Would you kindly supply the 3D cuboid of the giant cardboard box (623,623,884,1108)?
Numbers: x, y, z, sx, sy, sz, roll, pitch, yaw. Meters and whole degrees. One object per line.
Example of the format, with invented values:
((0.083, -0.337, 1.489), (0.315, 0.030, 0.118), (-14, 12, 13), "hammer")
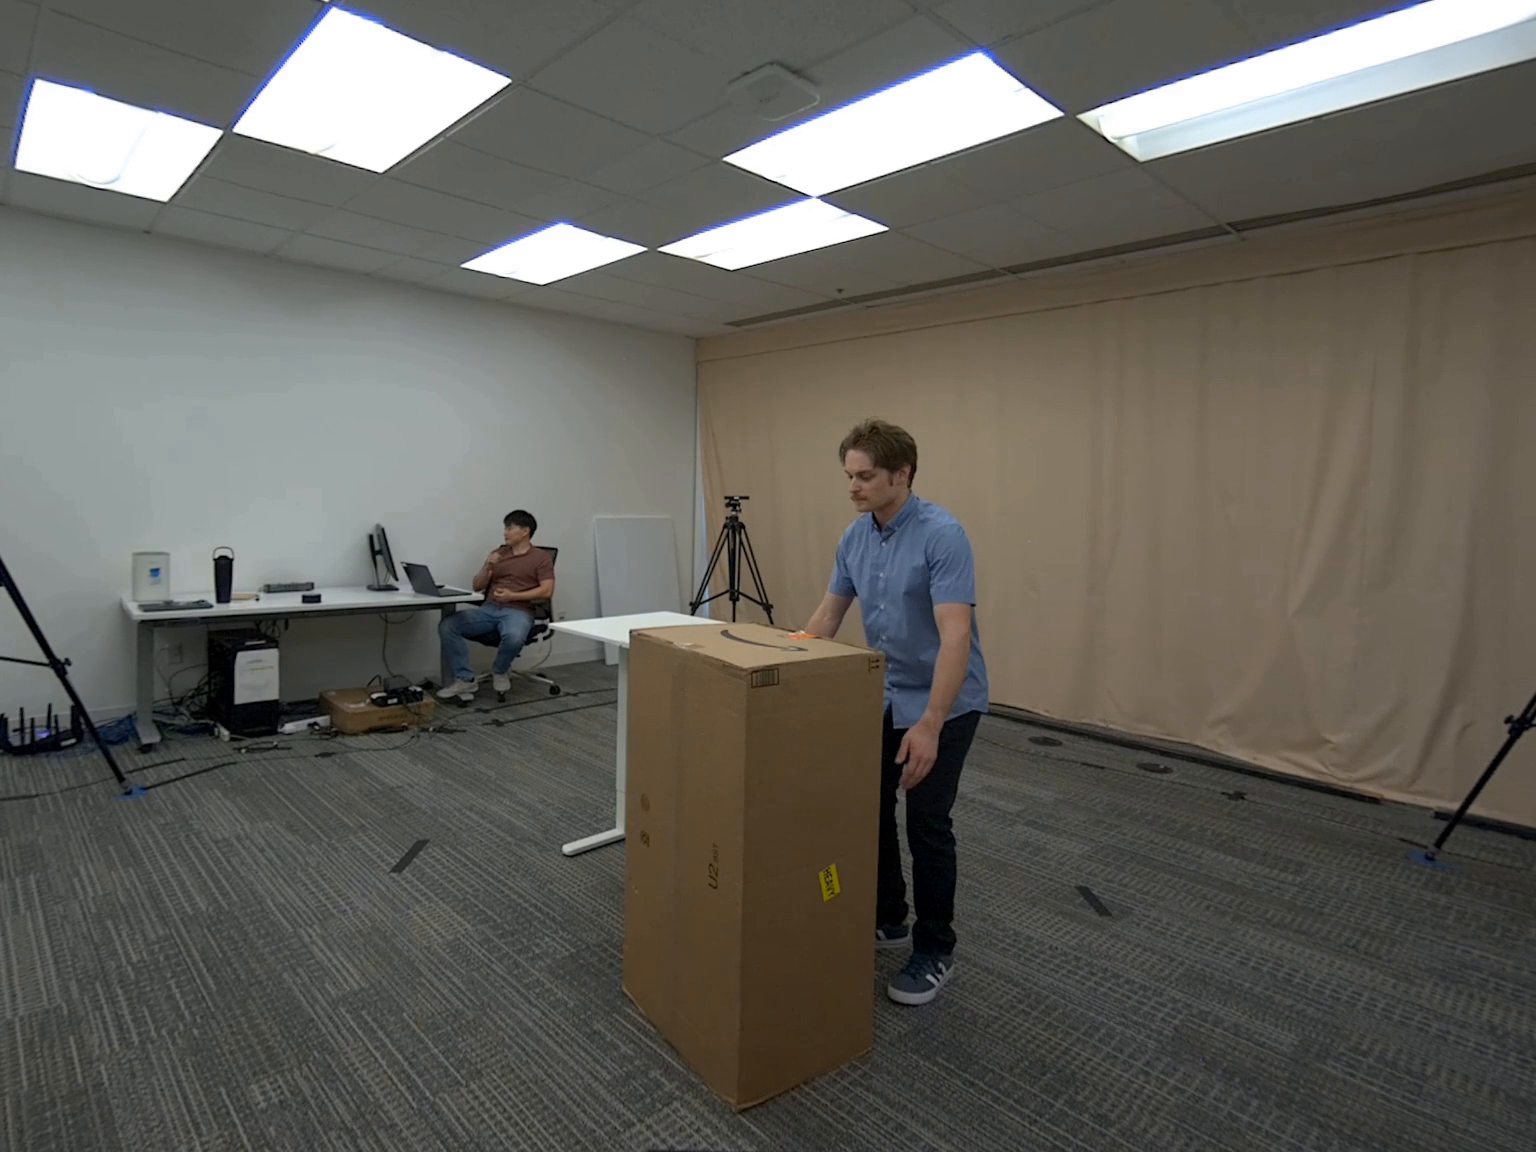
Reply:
((-0.063, 0.677, 2.221), (0.417, 1.023, 0.592), (0, 4, -36), "giant cardboard box")
